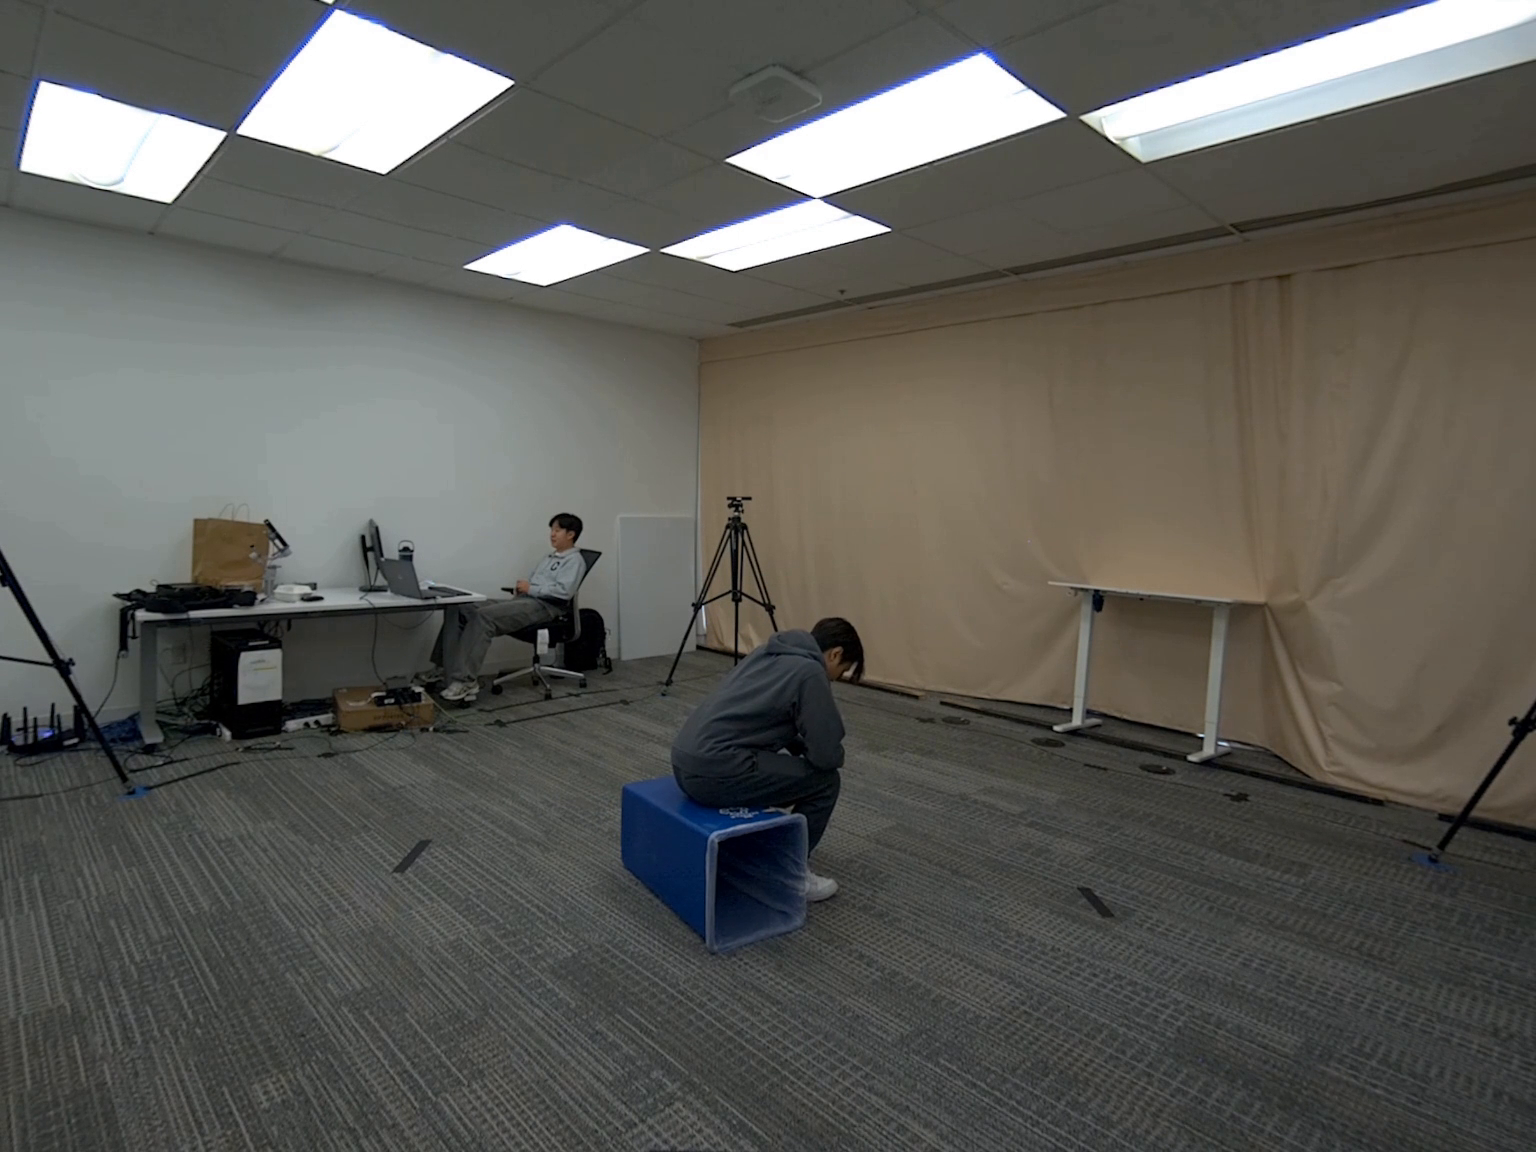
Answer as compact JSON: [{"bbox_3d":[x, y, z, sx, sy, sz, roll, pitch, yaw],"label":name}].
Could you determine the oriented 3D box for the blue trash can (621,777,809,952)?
[{"bbox_3d":[-0.238,0.951,2.937,0.366,0.378,0.730,-1,2,-35],"label":"blue trash can"}]
